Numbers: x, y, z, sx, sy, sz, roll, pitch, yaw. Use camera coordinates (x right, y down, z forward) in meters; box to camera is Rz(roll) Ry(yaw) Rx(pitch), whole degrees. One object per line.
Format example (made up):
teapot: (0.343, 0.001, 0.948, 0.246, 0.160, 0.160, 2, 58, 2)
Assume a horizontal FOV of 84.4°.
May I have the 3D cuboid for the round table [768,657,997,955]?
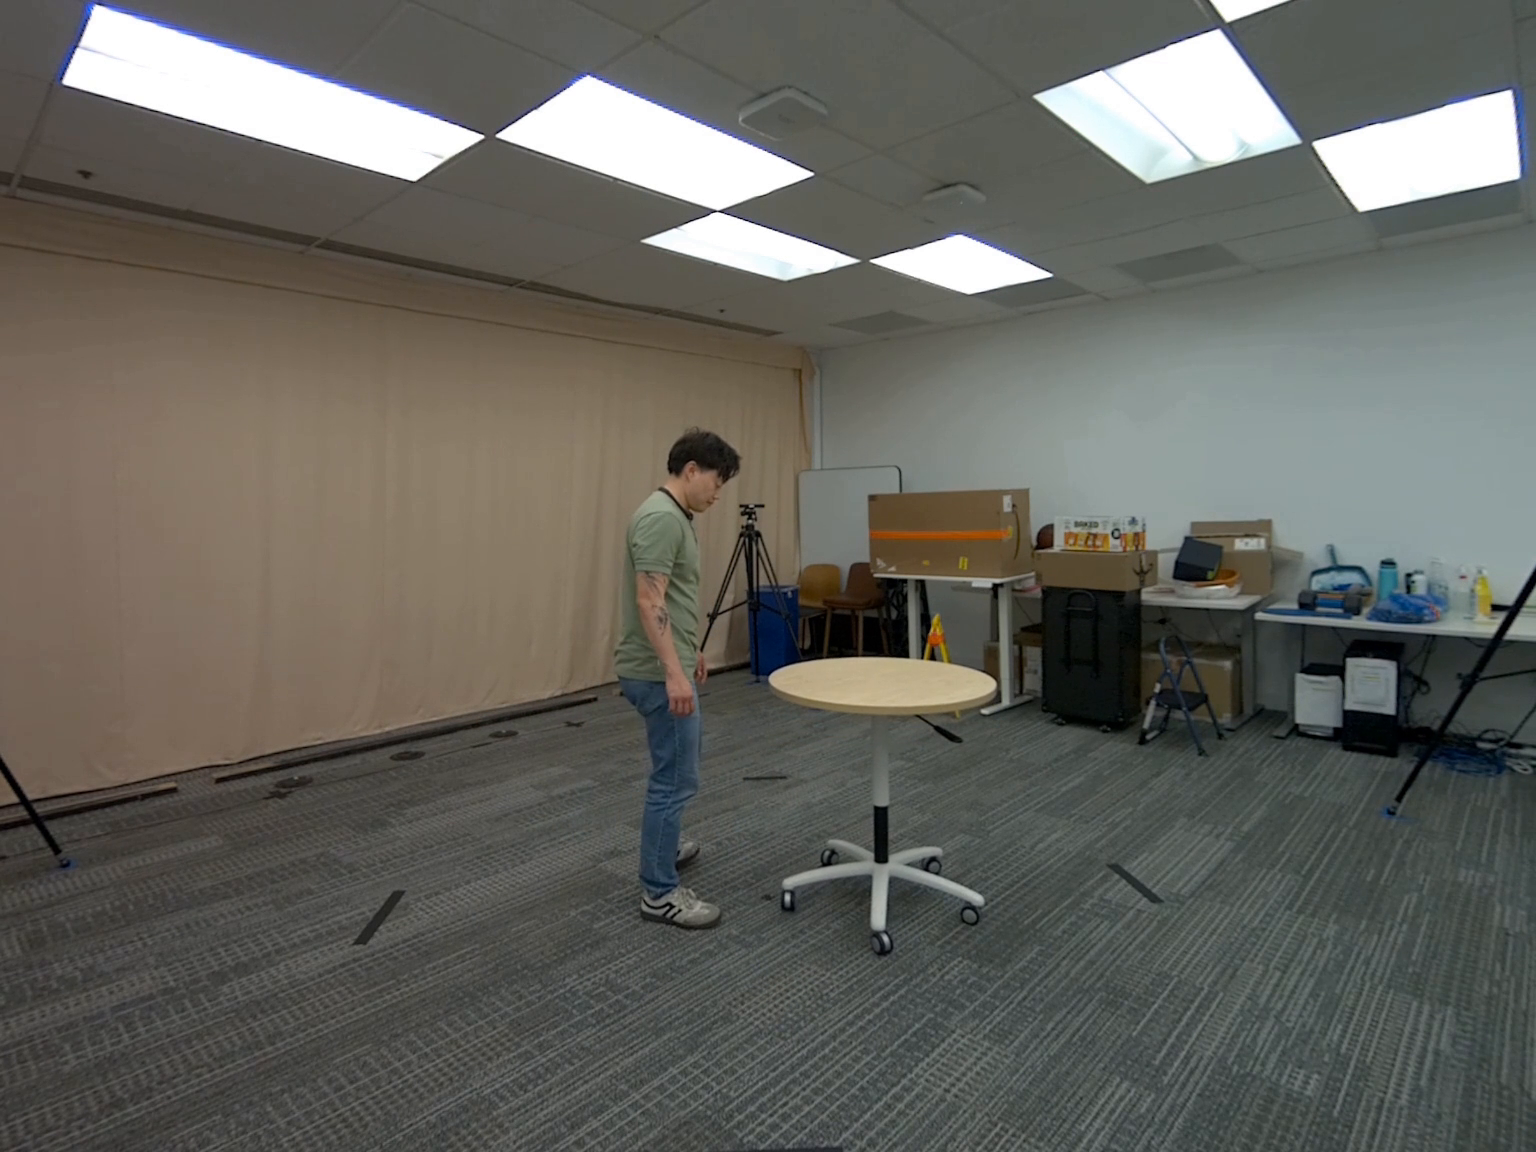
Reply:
round table: (0.393, 0.750, 2.914, 0.763, 0.792, 0.767, -1, 4, -2)
